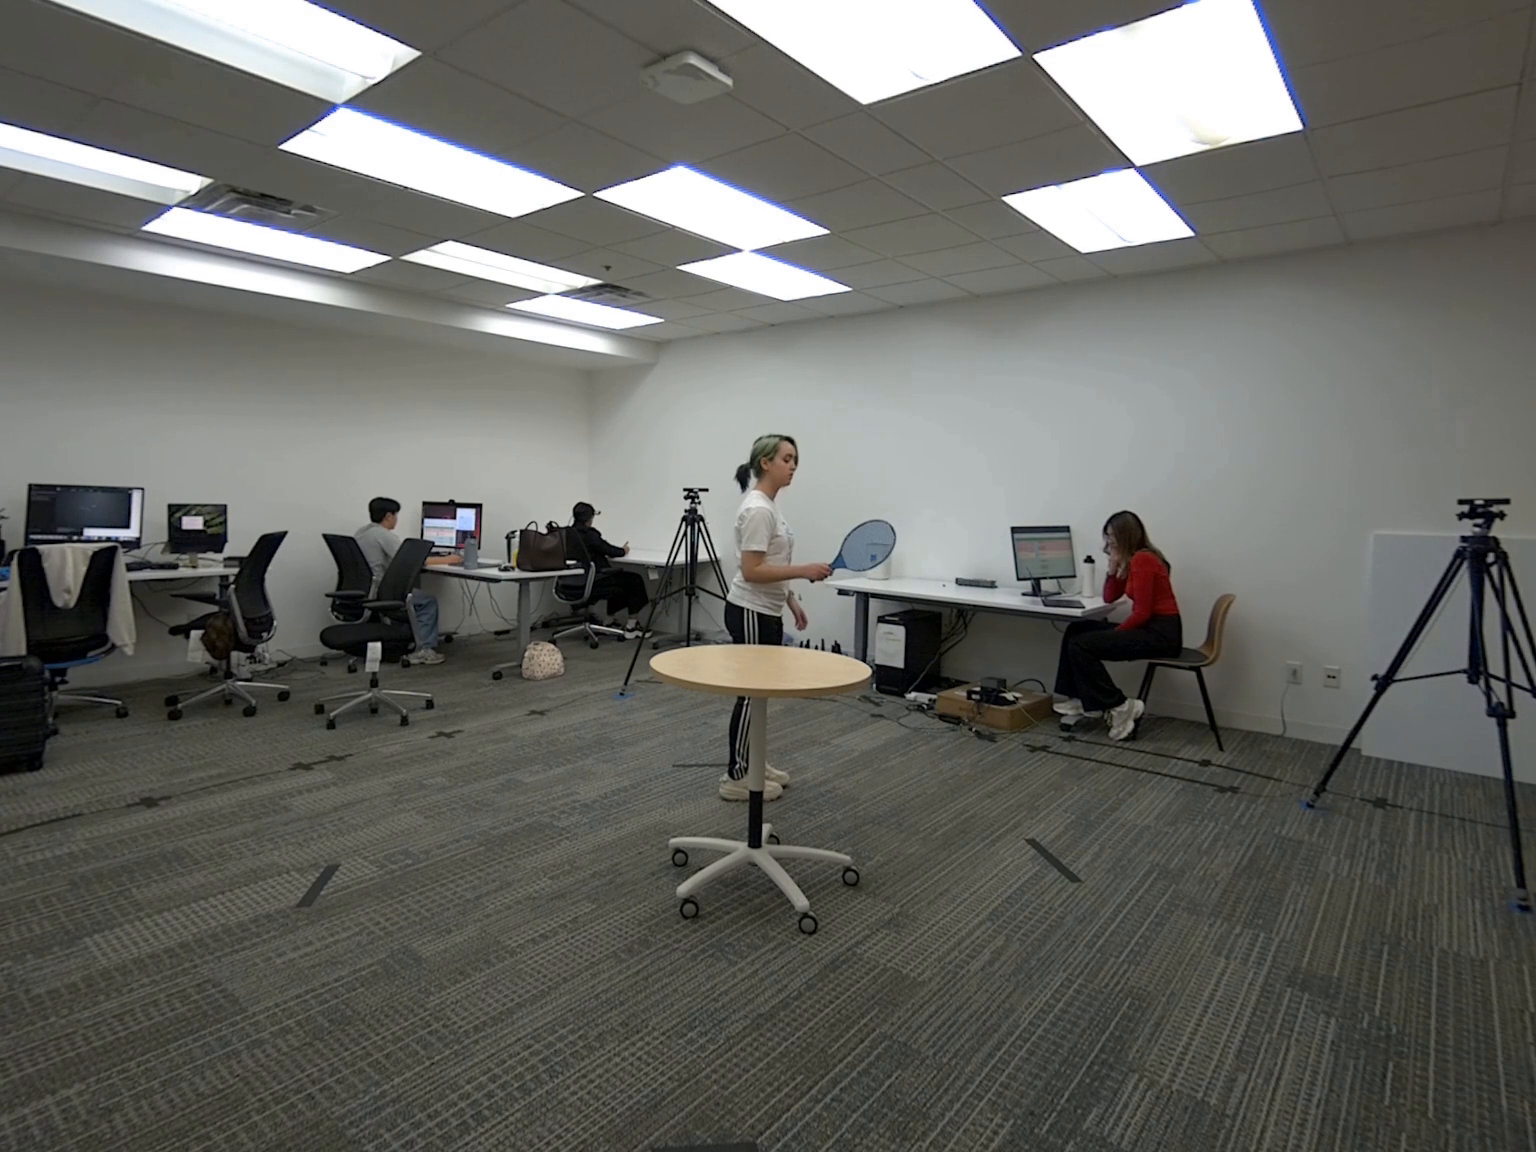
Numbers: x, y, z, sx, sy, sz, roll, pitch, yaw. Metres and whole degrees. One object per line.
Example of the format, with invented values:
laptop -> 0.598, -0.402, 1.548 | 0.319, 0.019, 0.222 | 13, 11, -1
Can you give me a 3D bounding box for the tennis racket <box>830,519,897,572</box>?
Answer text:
tennis racket -> 0.347, -0.090, 3.642 | 0.437, 0.220, 0.030 | -28, -32, 26
